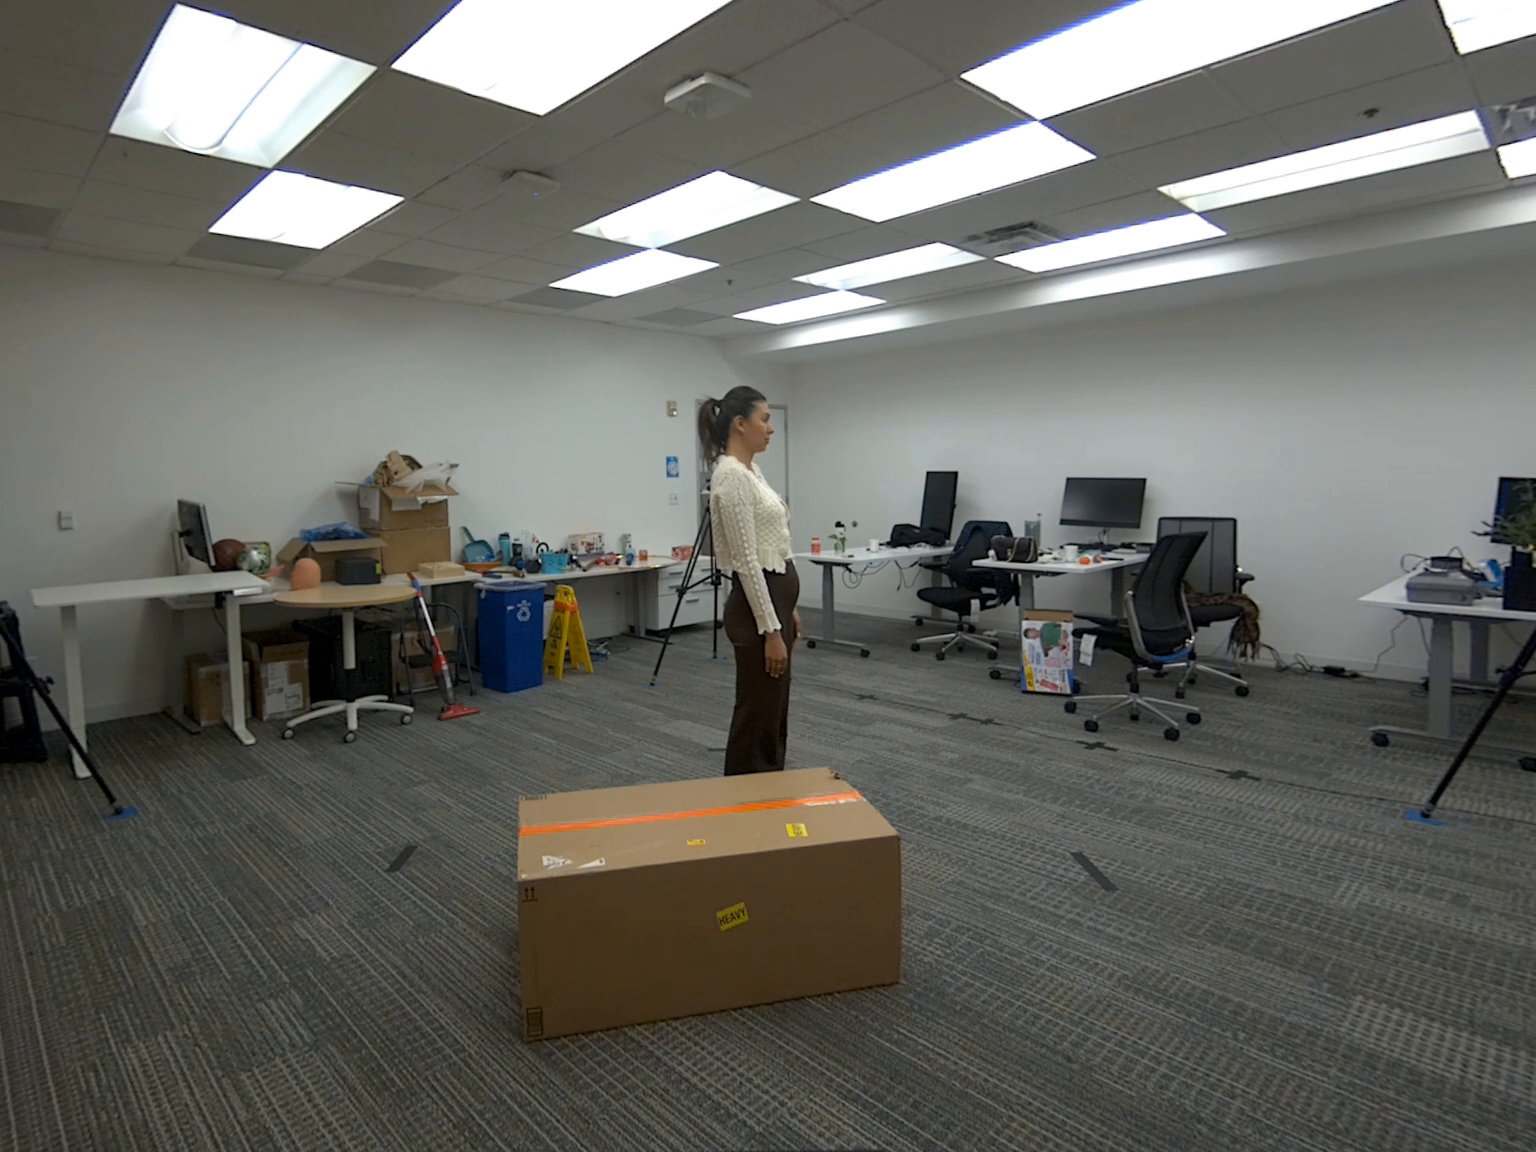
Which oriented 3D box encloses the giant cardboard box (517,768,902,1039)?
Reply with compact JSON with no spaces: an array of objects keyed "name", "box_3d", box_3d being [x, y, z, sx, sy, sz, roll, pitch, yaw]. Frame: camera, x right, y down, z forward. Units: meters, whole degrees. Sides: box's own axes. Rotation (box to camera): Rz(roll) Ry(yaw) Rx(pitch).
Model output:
[{"name":"giant cardboard box","box_3d":[-0.202,0.900,2.508,1.013,0.424,0.588,-3,7,-14]}]
